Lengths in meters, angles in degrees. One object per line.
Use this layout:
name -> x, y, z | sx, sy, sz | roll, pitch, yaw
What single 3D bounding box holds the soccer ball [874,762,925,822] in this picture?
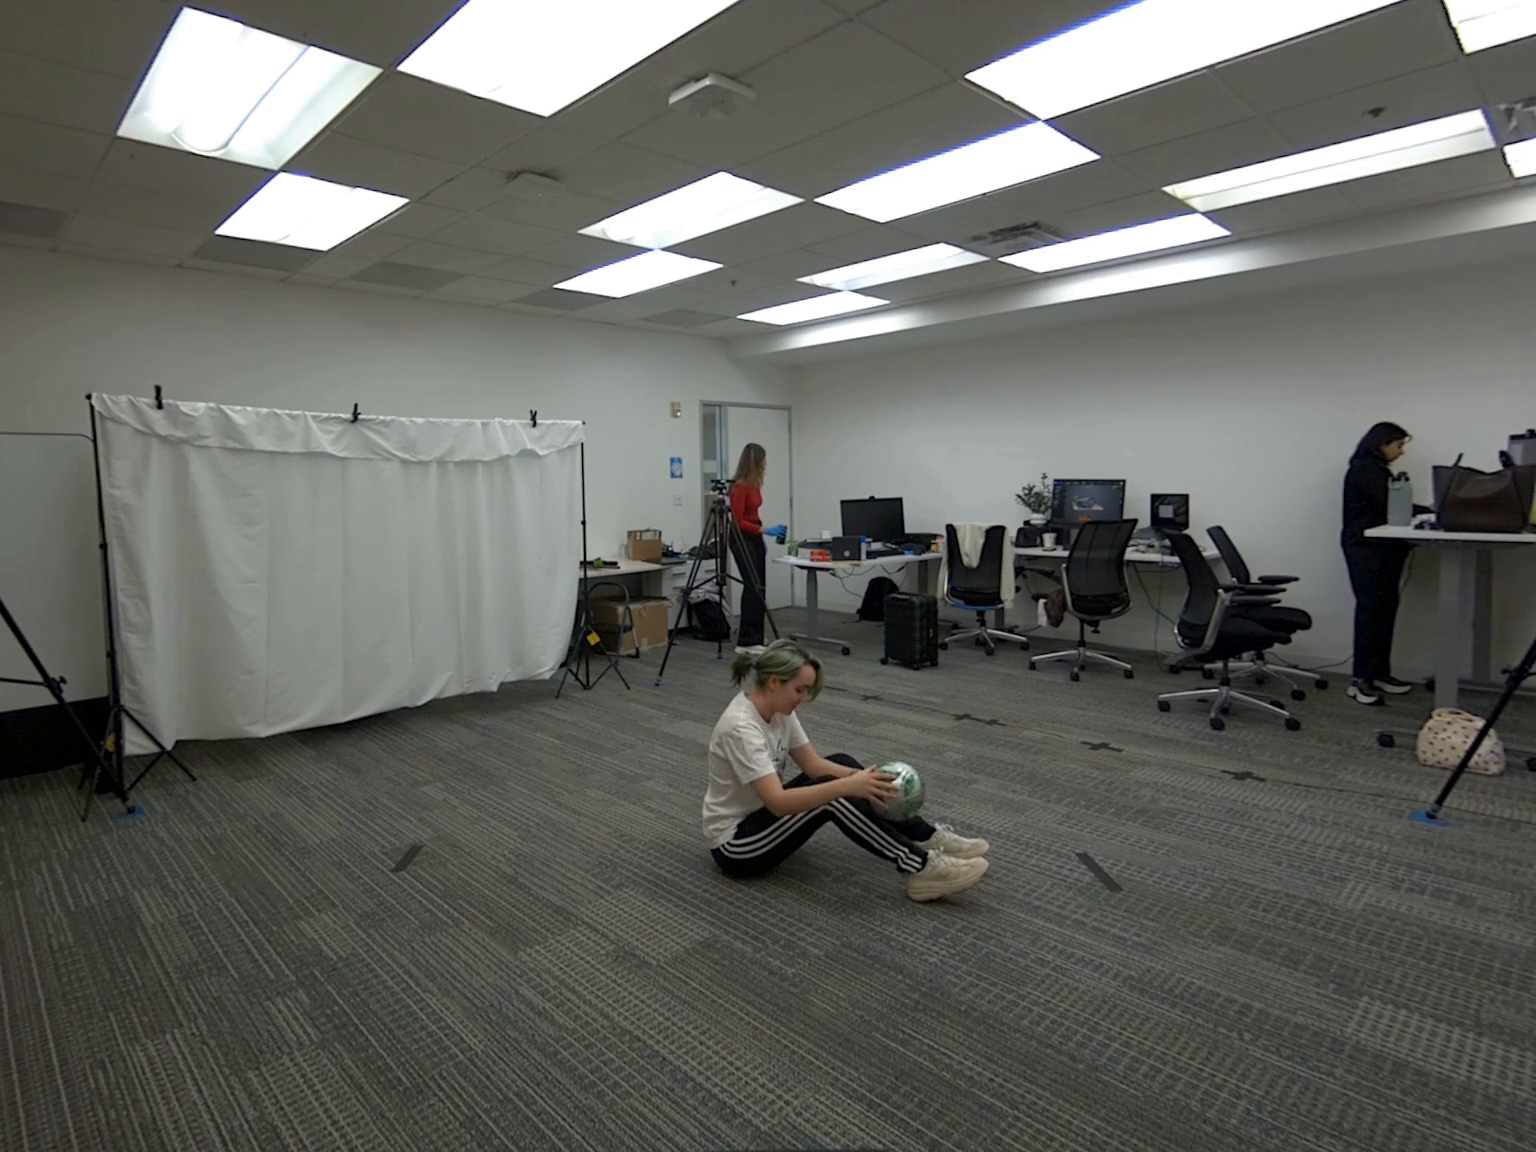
soccer ball -> 0.403, 0.725, 2.793 | 0.187, 0.187, 0.188 | -1, 5, -2
